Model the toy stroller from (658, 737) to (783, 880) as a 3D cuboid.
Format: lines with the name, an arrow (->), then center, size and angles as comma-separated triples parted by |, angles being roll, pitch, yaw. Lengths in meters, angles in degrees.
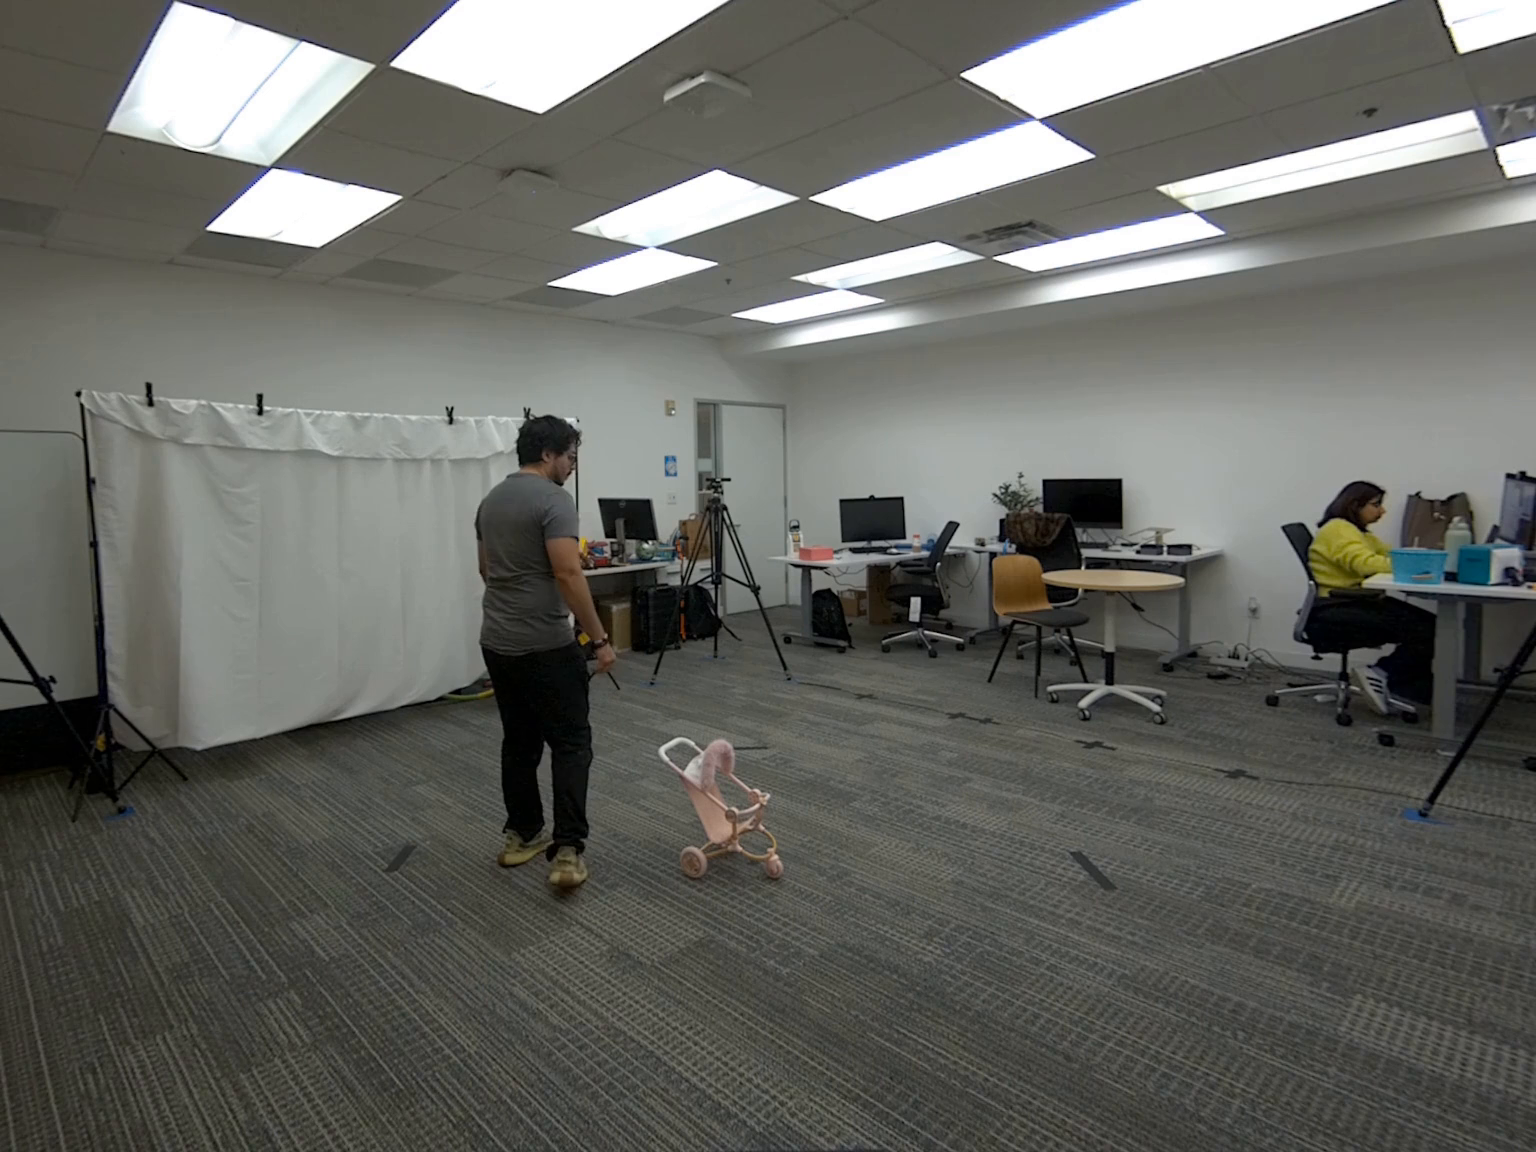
toy stroller -> -0.156, 0.822, 3.059 | 0.347, 0.538, 0.275 | -18, -5, 31
